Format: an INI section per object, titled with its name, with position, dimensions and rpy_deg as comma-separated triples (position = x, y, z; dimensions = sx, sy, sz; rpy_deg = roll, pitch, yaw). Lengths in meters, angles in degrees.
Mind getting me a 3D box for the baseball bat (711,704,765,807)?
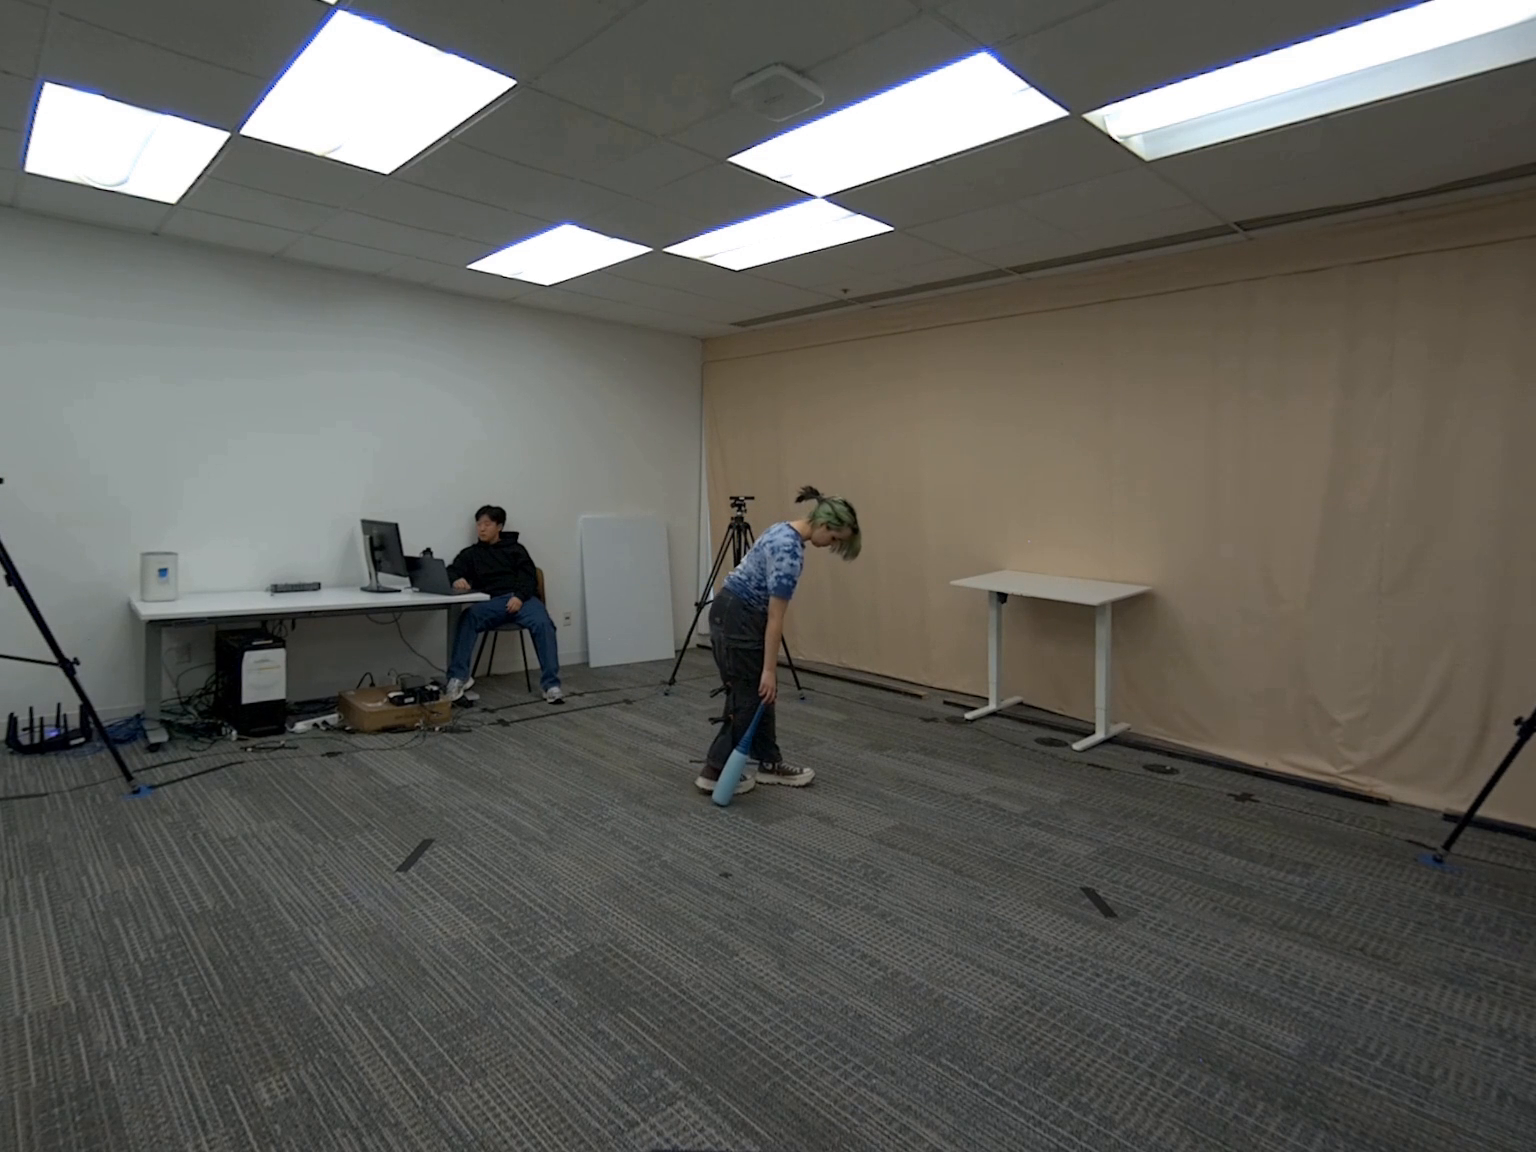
[baseball bat]
position = -0.130, 0.785, 3.832
dimensions = 0.089, 0.543, 0.089
rpy_deg = 23, -2, -1
